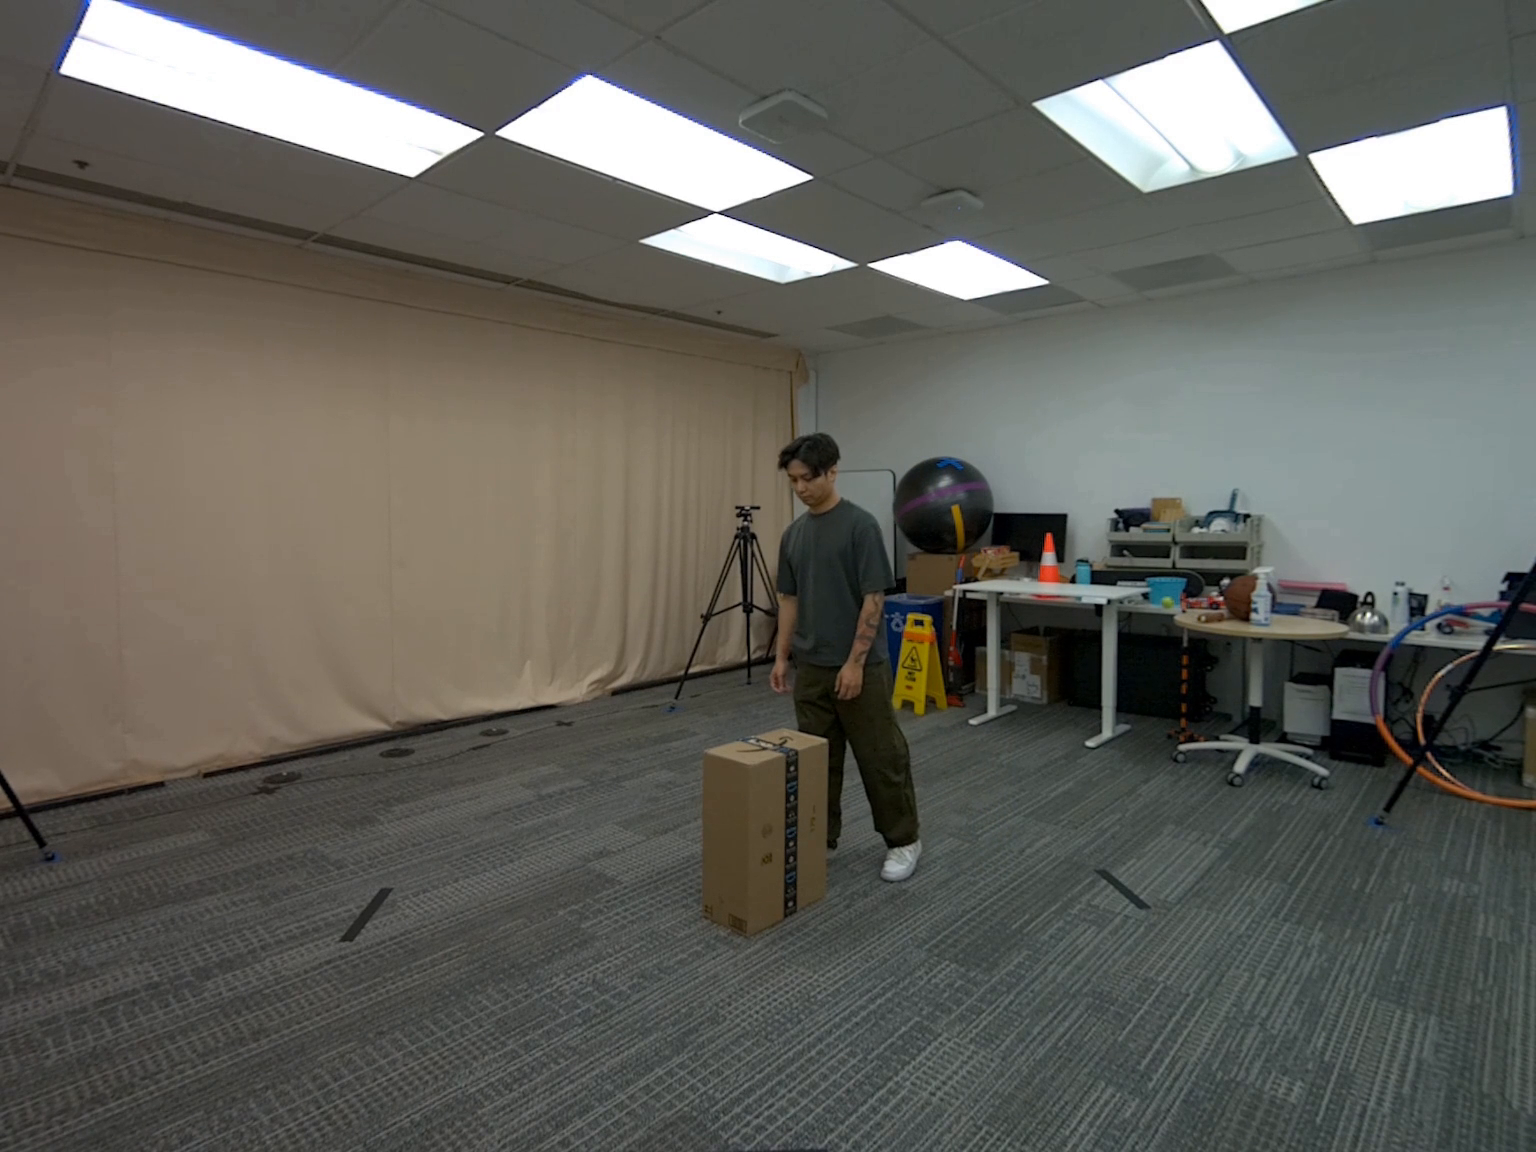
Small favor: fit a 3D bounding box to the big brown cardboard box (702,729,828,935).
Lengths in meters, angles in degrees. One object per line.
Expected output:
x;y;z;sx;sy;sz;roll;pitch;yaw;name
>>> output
-0.007;0.862;2.920;0.241;0.588;0.404;2;2;43;big brown cardboard box
